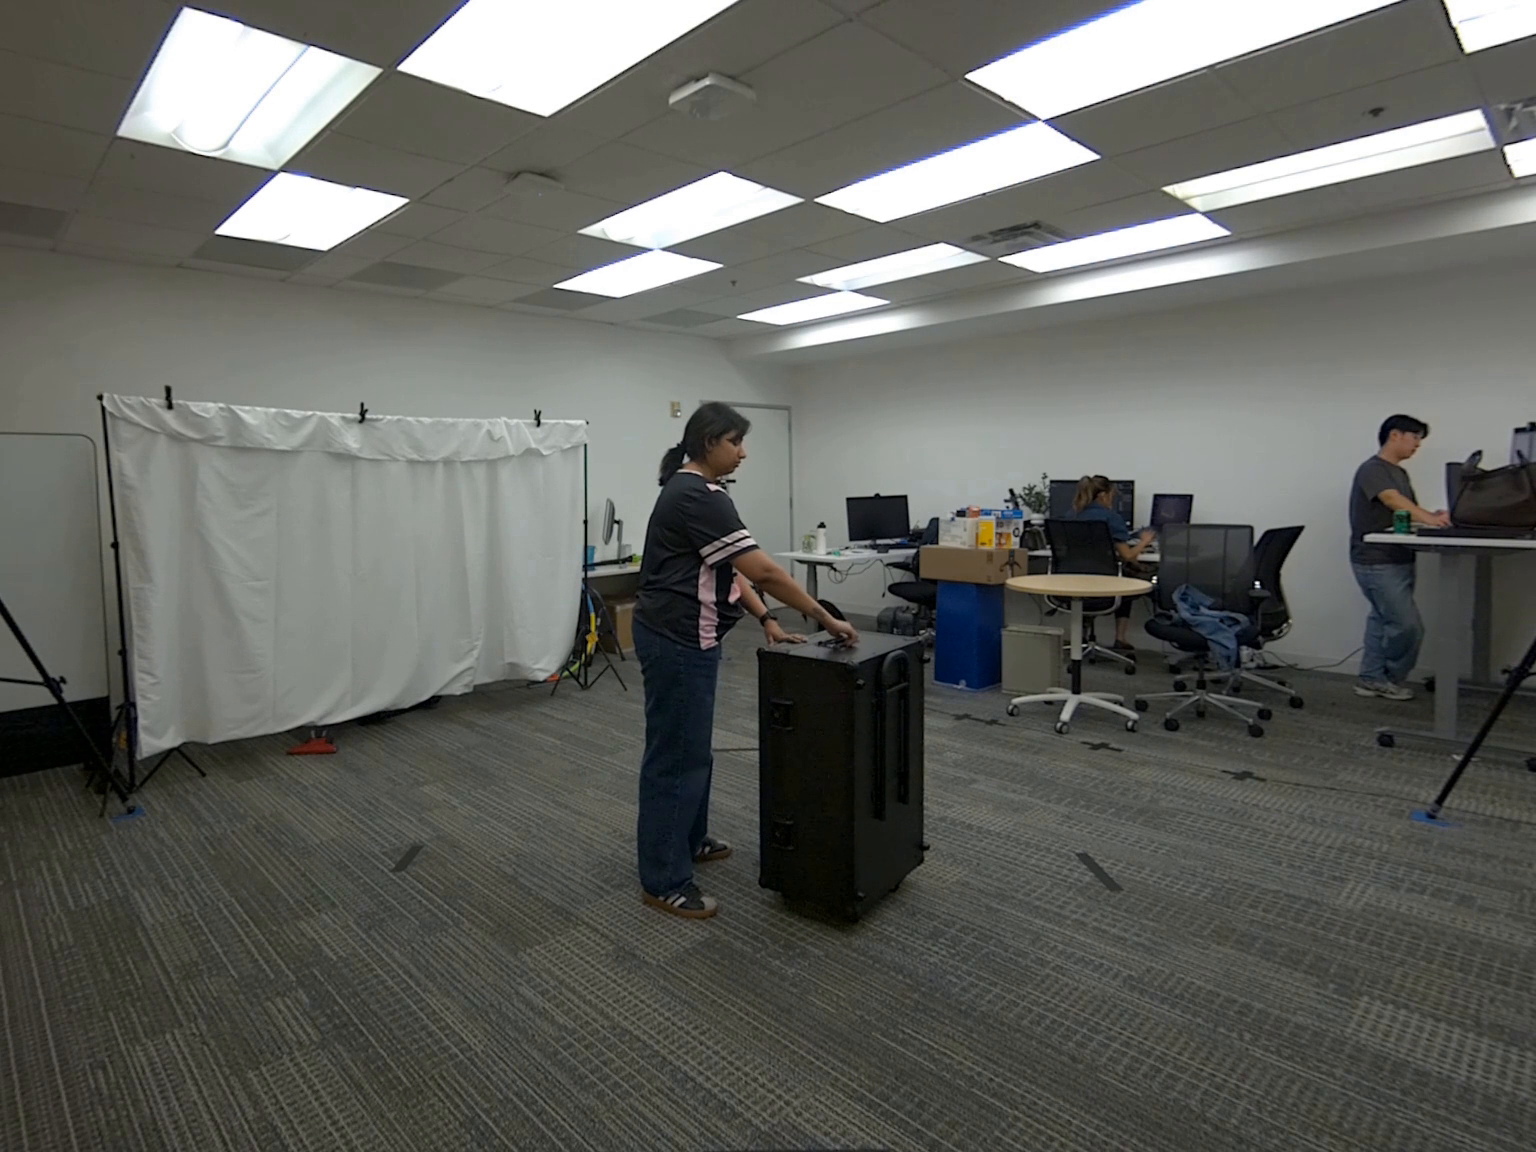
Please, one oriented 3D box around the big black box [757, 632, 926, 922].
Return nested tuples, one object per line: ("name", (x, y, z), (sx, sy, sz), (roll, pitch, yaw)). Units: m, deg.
("big black box", (0.260, 0.646, 2.844), (0.396, 0.865, 0.510), (3, 6, 36))
